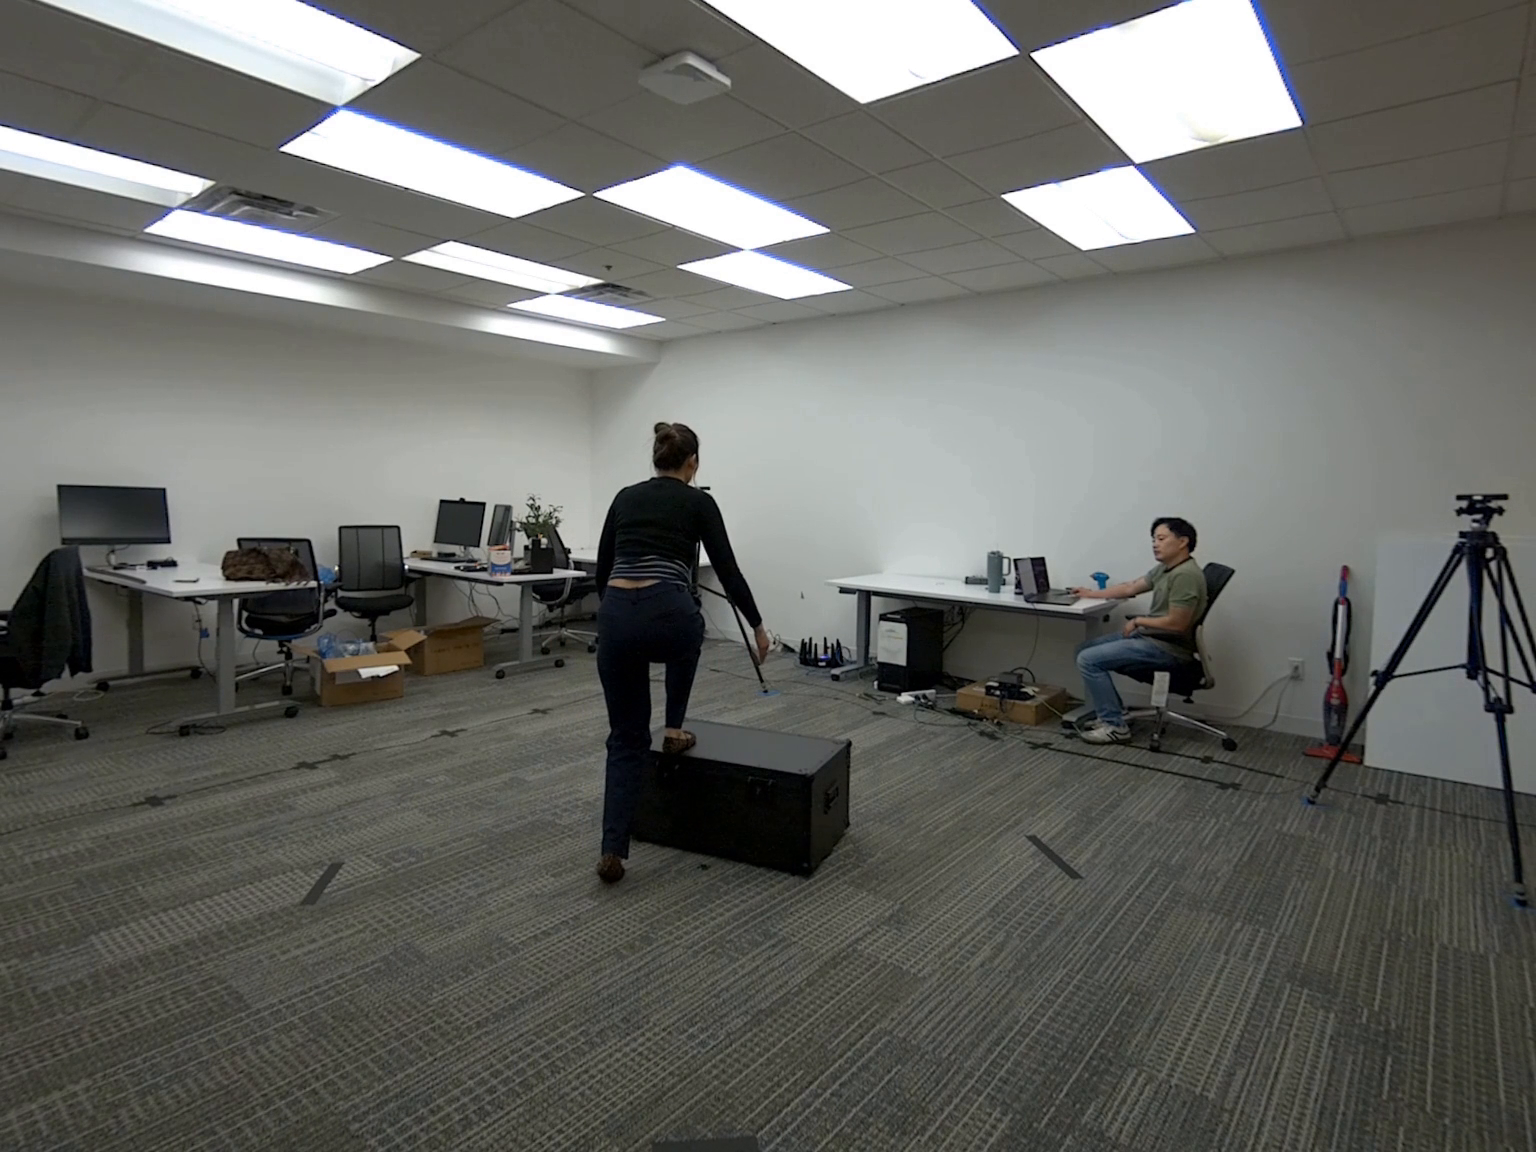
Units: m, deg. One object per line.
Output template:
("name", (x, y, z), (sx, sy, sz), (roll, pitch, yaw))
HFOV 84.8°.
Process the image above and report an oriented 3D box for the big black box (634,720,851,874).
("big black box", (-0.154, 0.849, 3.412), (0.883, 0.395, 0.510), (3, 6, 24))
